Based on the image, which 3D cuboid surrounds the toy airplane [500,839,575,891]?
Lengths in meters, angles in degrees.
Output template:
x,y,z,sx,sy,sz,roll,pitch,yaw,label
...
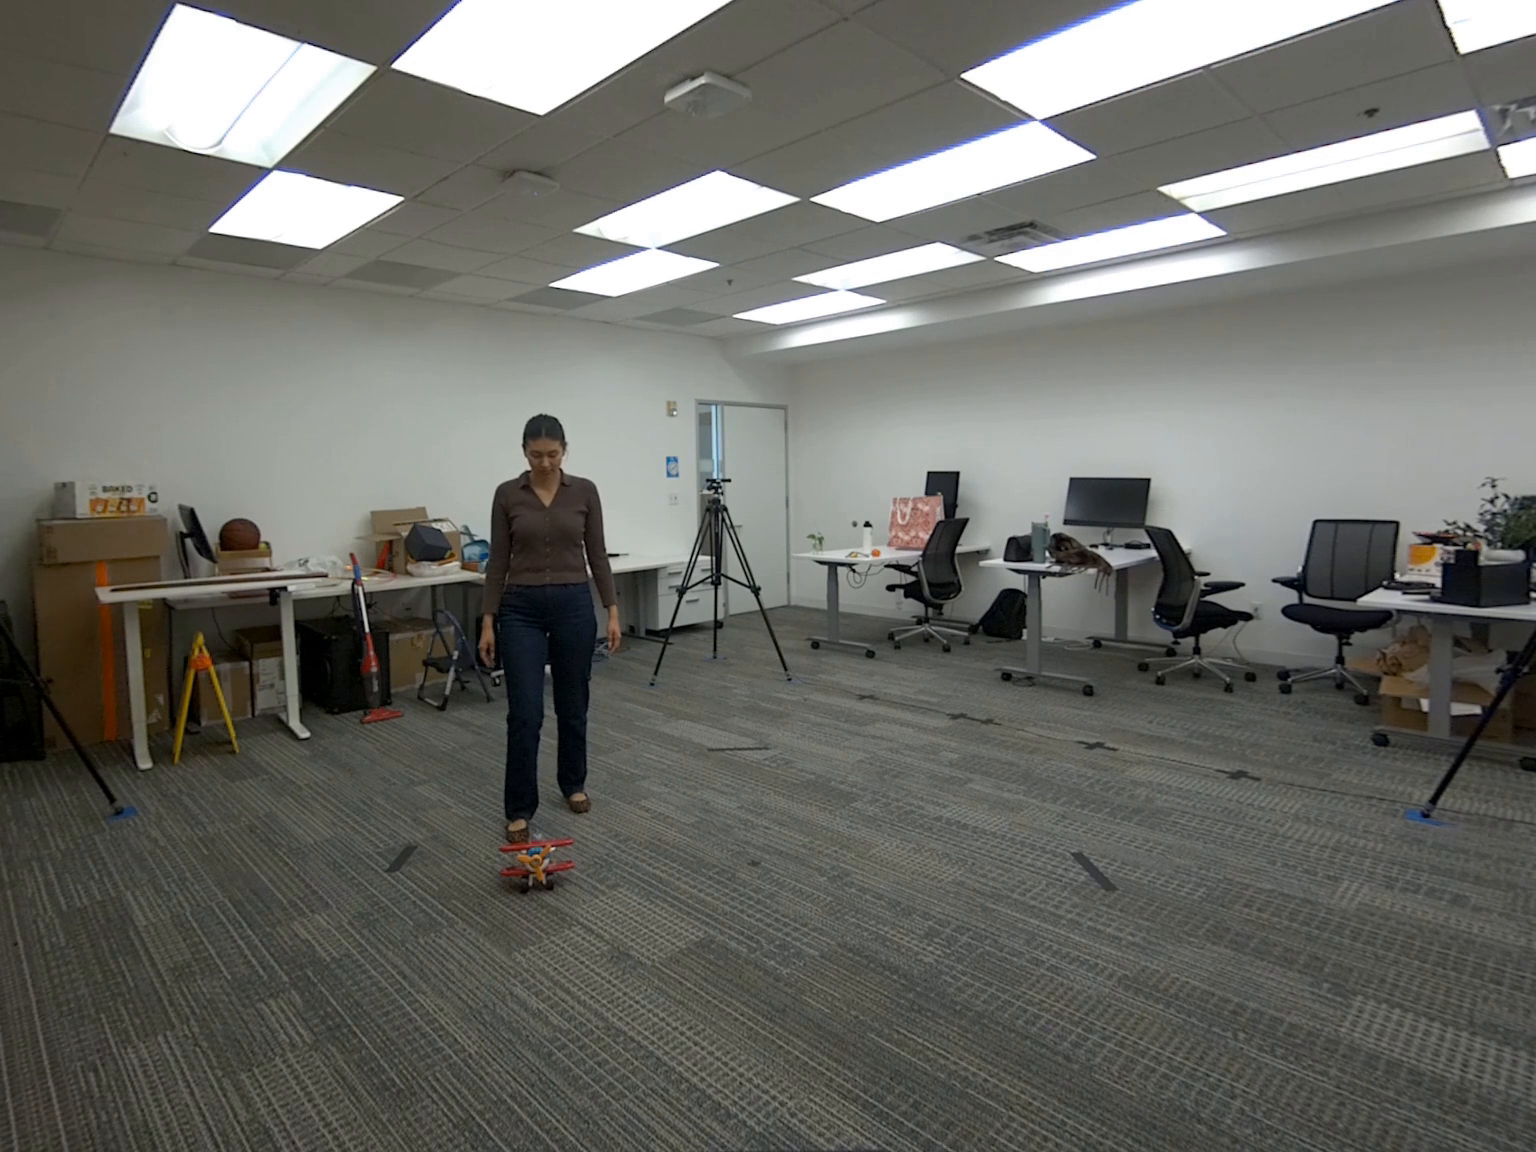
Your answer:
x,y,z,sx,sy,sz,roll,pitch,yaw,label
-0.827,0.995,3.015,0.245,0.155,0.267,-6,9,-39,toy airplane
